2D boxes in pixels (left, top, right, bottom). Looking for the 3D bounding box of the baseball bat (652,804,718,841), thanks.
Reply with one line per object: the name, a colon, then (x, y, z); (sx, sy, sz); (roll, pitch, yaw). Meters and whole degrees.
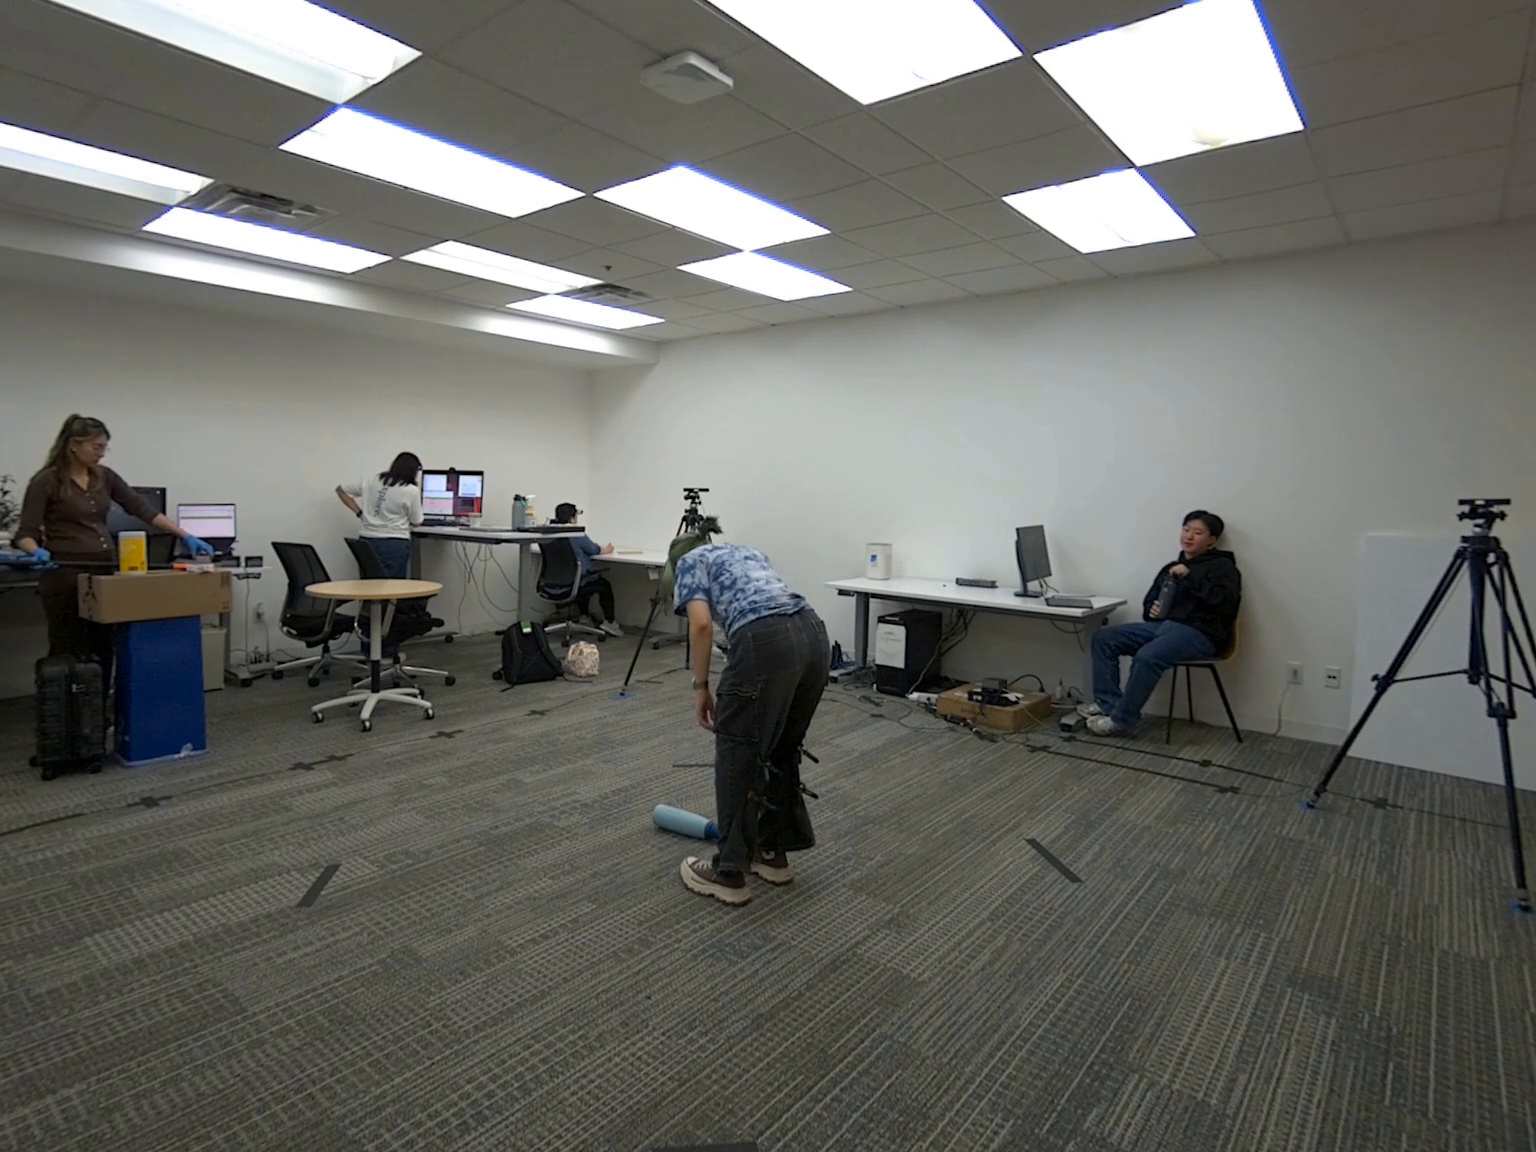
baseball bat: (-0.229, 1.009, 3.366); (0.559, 0.088, 0.087); (7, 7, 27)
